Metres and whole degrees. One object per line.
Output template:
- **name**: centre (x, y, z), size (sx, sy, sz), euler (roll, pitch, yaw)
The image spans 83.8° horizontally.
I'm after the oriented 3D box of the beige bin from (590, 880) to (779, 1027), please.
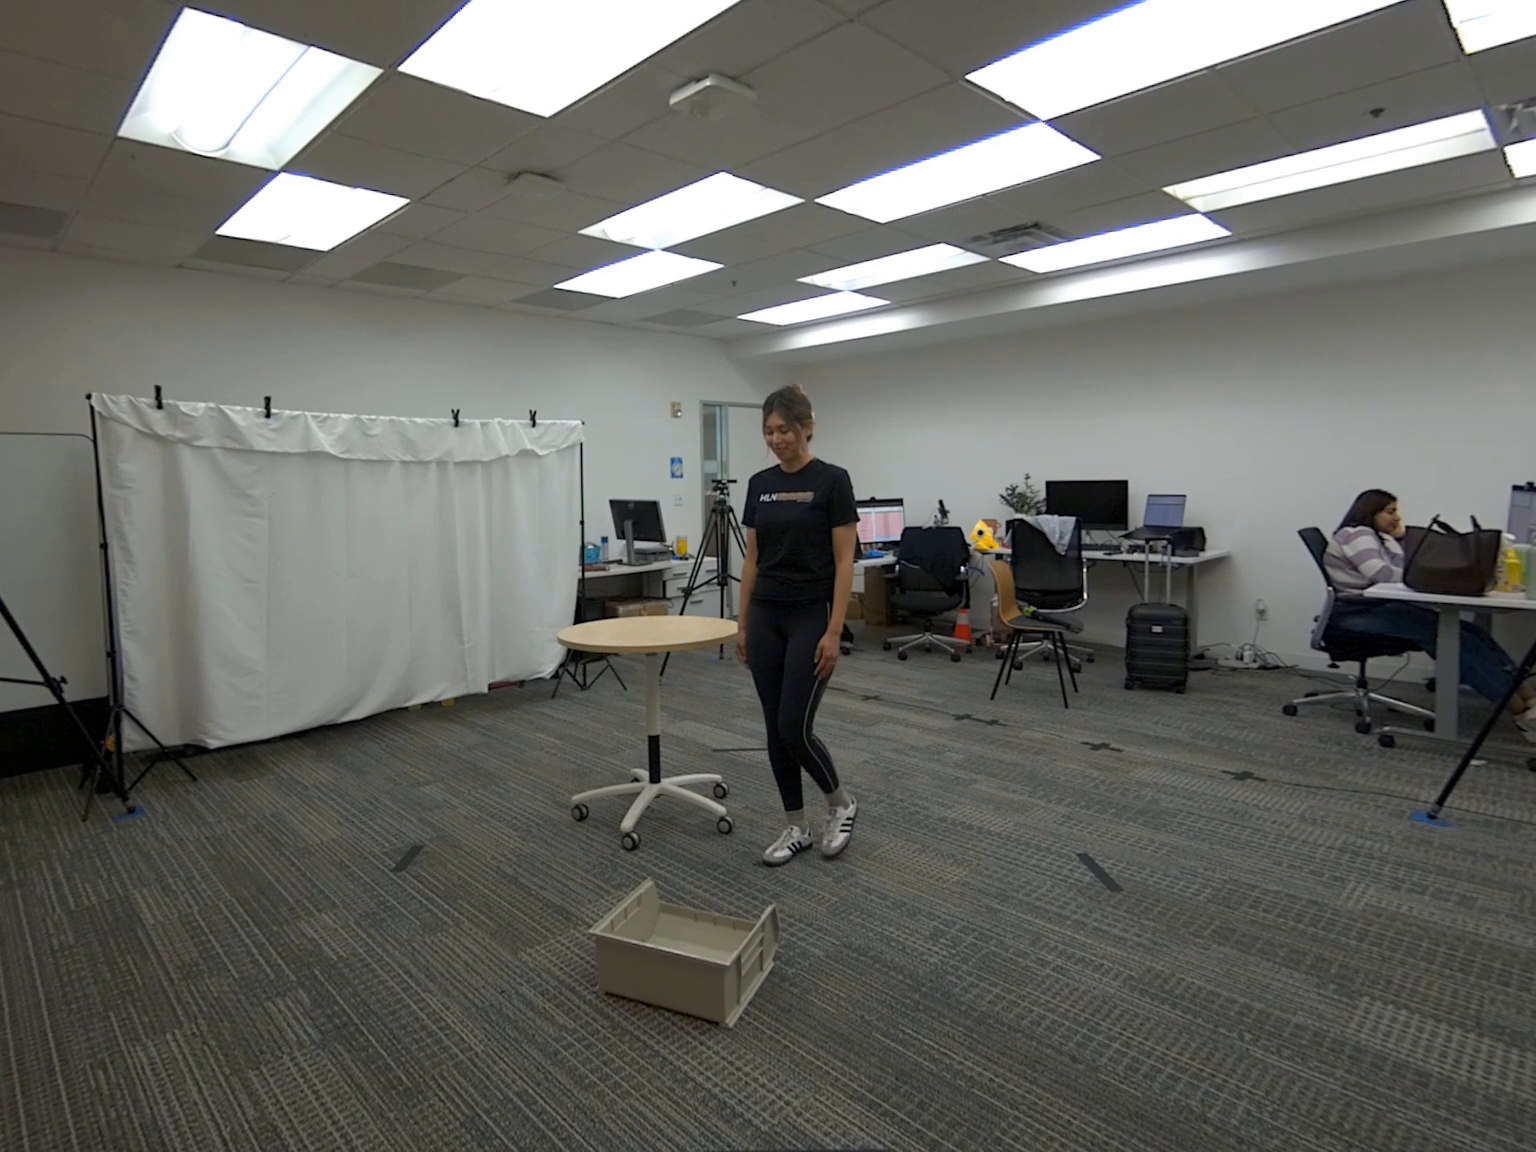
- **beige bin**: centre (-0.221, 1.047, 2.412), size (0.432, 0.188, 0.371), euler (2, 8, 23)
